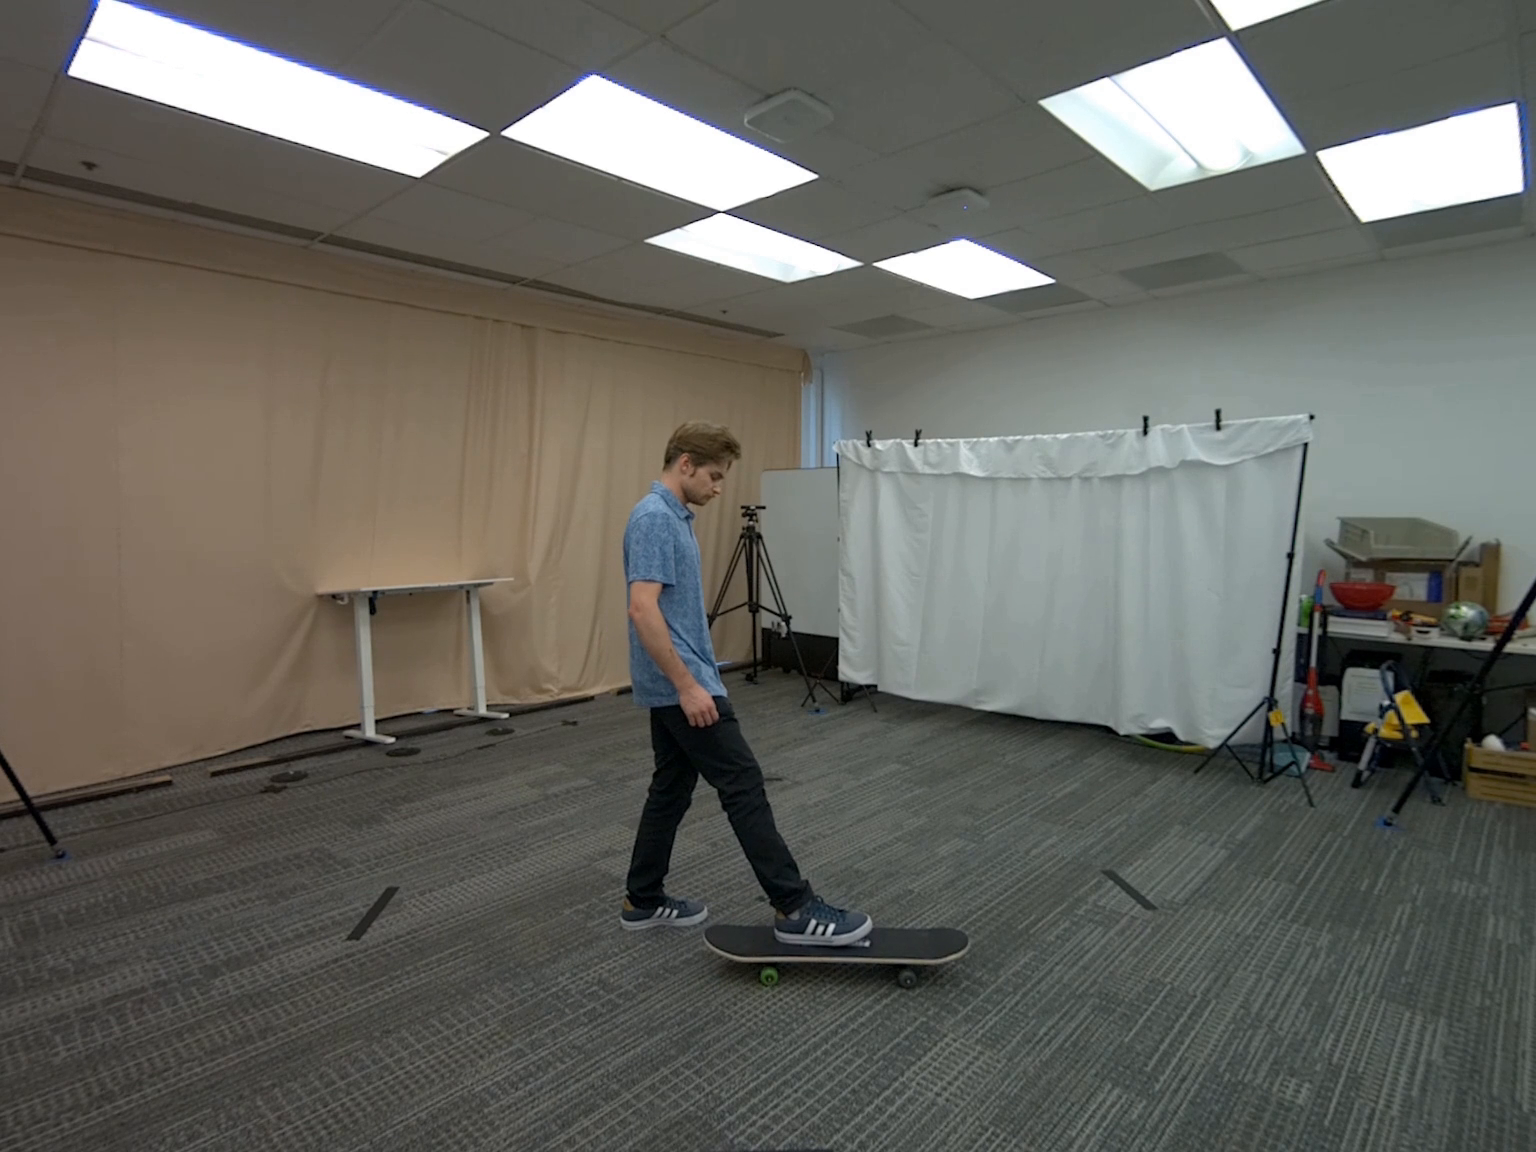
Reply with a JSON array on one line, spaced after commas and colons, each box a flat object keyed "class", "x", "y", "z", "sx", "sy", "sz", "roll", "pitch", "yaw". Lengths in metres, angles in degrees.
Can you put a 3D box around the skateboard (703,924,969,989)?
[{"class": "skateboard", "x": 0.201, "y": 1.121, "z": 2.519, "sx": 0.787, "sy": 0.110, "sz": 0.193, "roll": 0, "pitch": 3, "yaw": 2}]
